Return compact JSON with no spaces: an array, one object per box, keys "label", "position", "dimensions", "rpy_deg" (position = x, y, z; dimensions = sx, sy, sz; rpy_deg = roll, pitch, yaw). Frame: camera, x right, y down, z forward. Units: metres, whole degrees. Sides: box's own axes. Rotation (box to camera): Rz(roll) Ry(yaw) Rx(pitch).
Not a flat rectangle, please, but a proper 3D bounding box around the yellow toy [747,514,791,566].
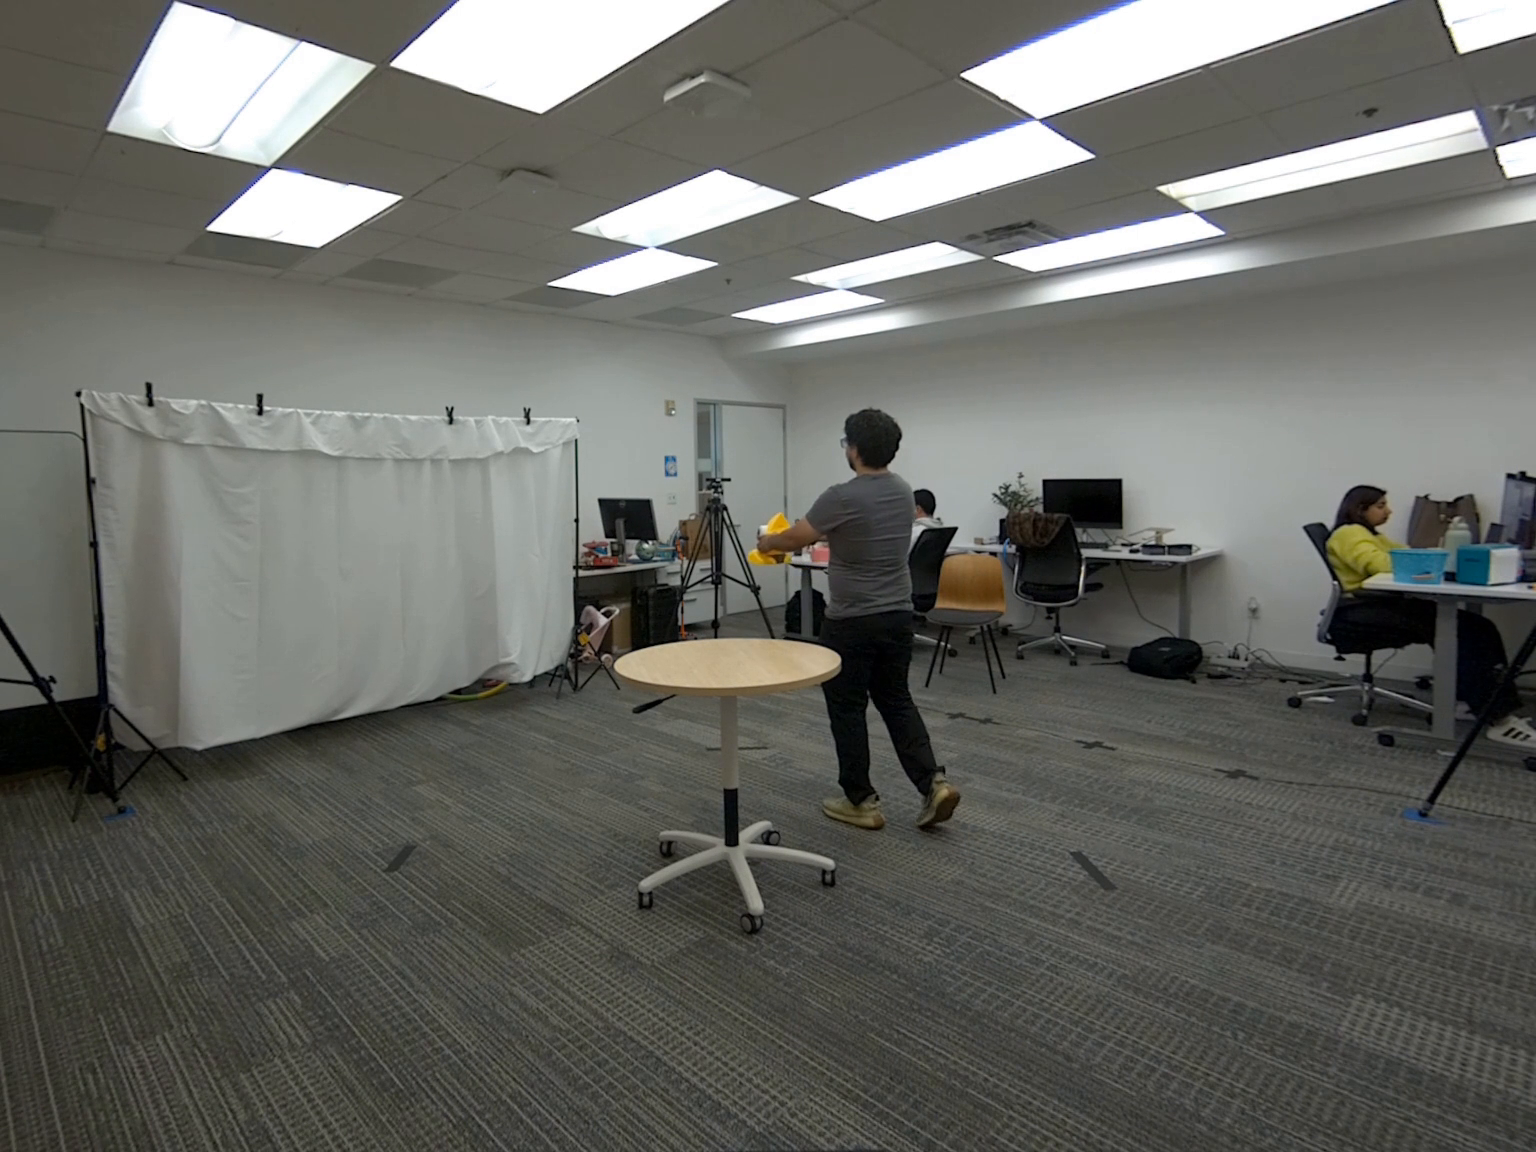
[{"label":"yellow toy","position":[0.020,-0.179,3.864],"dimensions":[0.200,0.228,0.200],"rpy_deg":[-8,14,-38]}]
